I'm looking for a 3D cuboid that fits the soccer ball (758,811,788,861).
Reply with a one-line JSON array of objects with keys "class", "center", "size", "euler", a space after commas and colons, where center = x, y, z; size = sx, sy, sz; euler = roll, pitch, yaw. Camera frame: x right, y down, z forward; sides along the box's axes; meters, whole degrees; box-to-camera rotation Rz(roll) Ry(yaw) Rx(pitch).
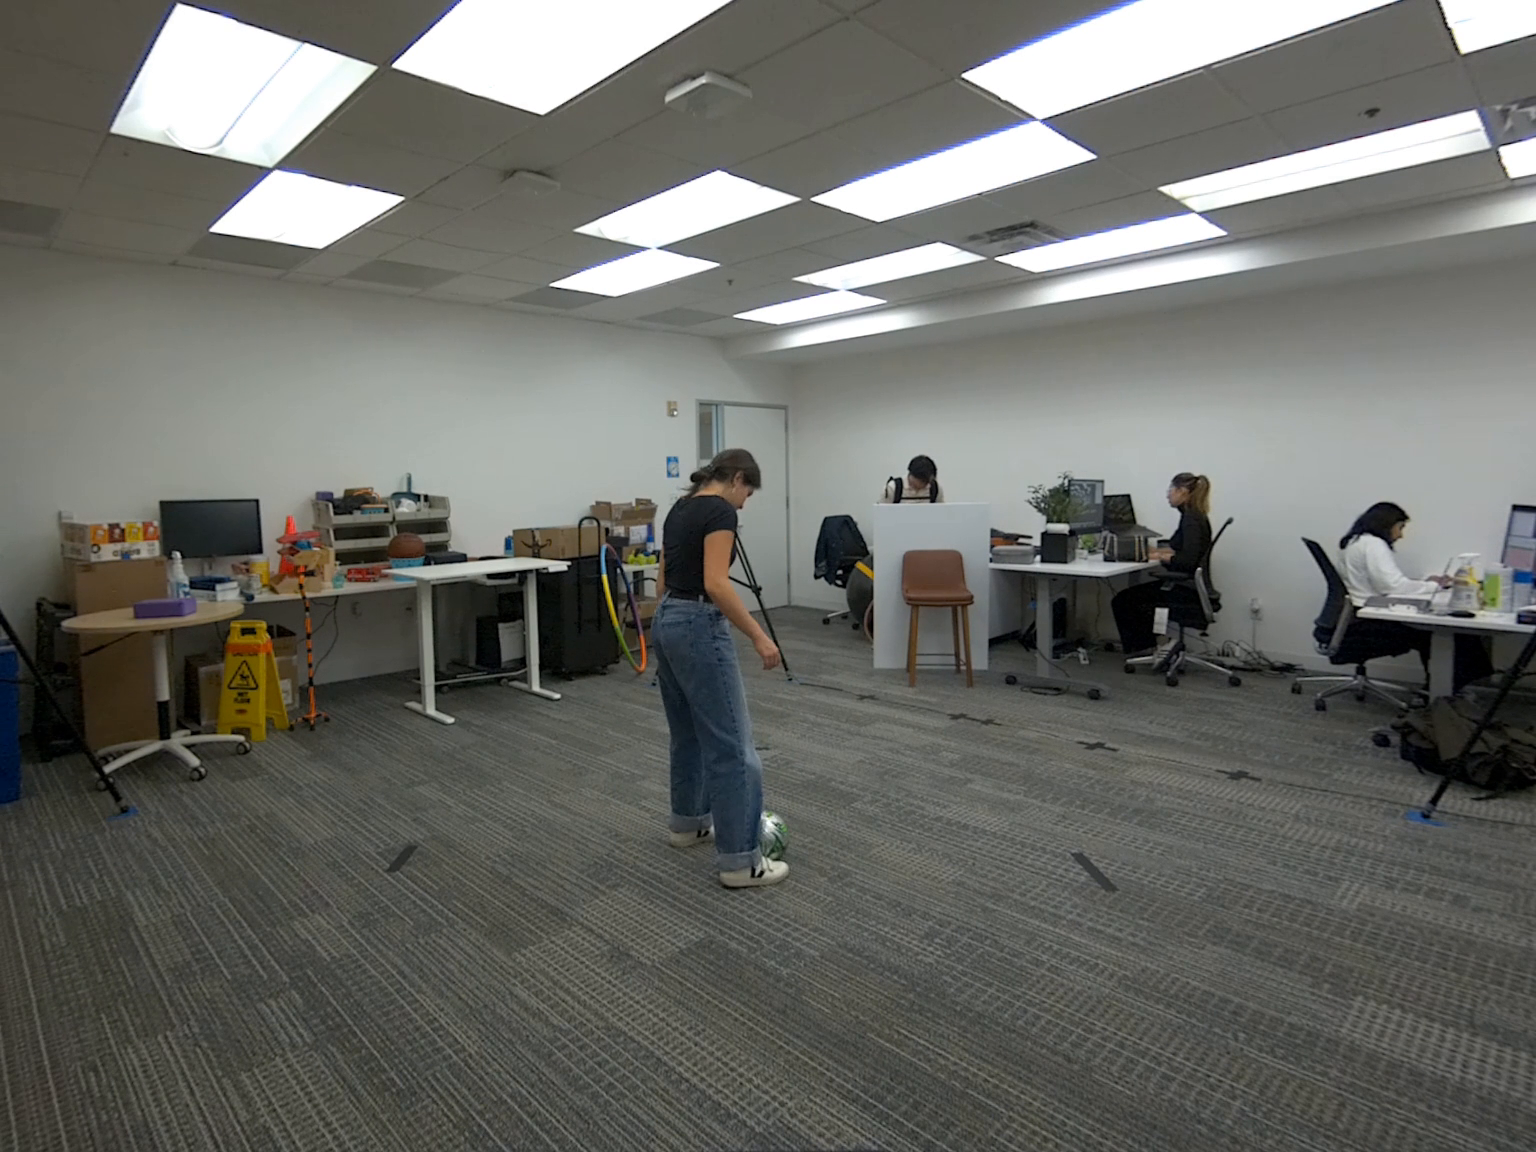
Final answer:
[{"class": "soccer ball", "center": [-0.007, 0.950, 3.121], "size": [0.187, 0.187, 0.188], "euler": [-1, 5, -2]}]
